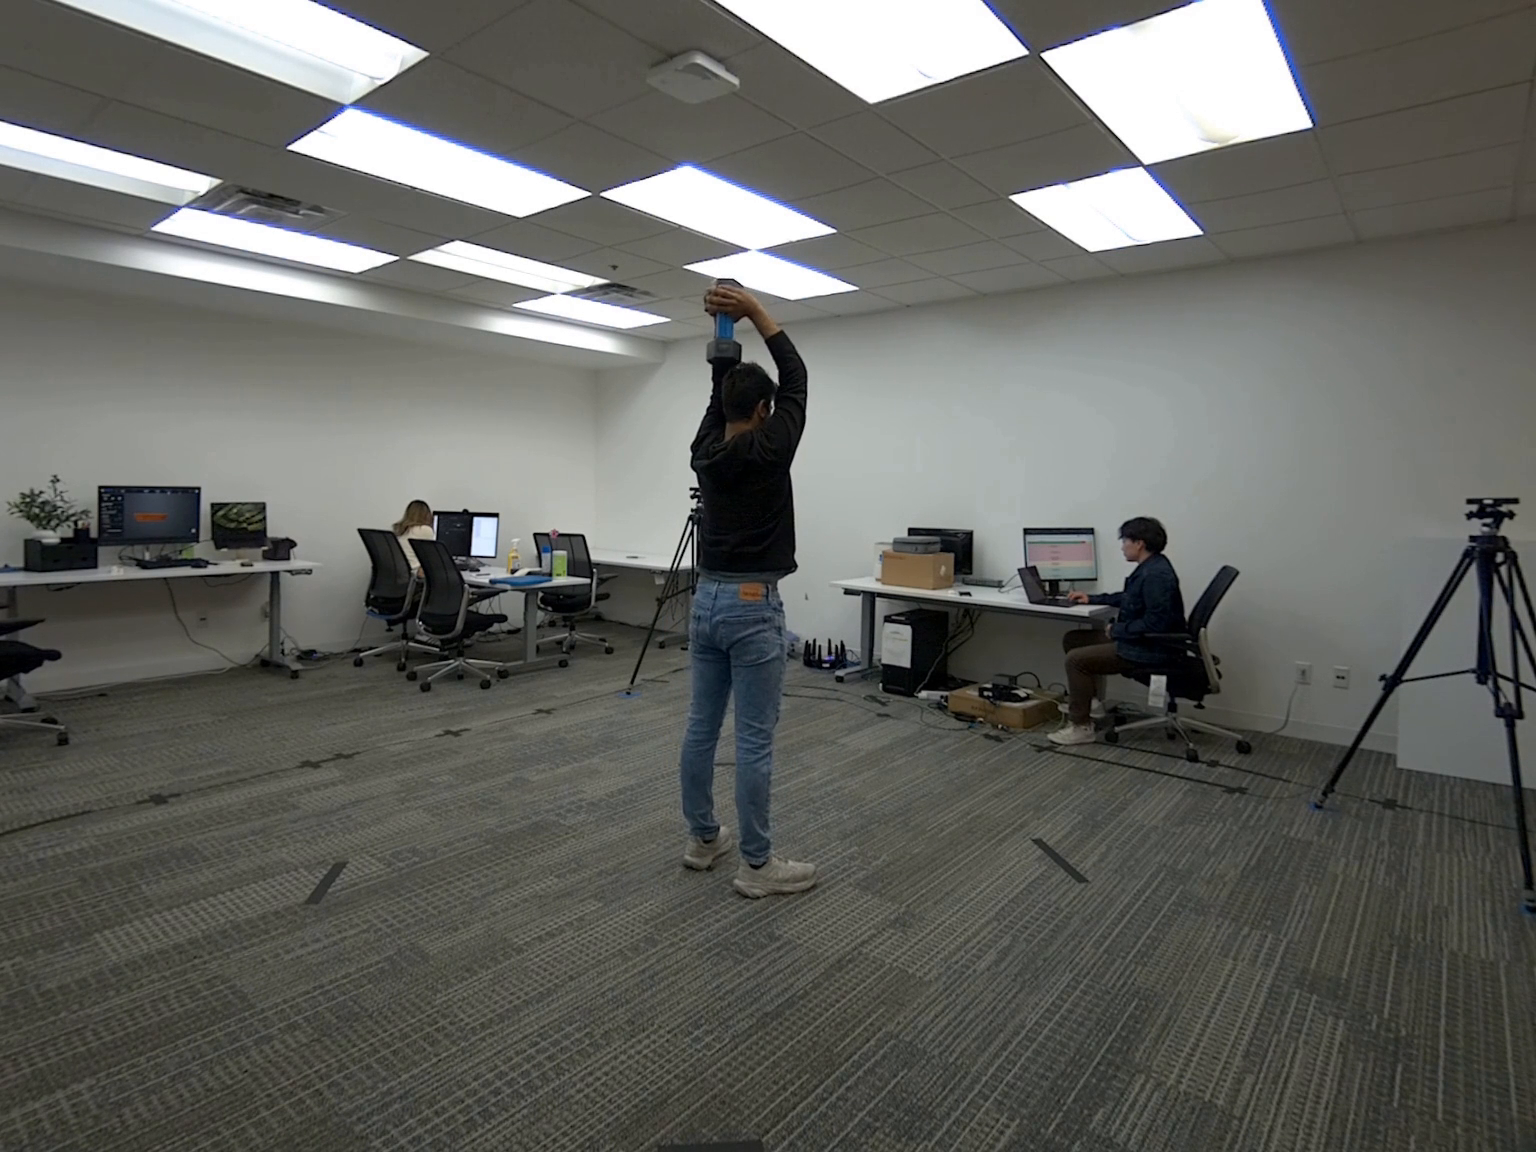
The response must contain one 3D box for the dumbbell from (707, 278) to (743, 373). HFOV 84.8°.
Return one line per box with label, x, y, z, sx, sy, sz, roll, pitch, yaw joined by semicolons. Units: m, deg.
dumbbell;-0.151;-0.882;2.952;0.105;0.296;0.126;4;-10;-39
